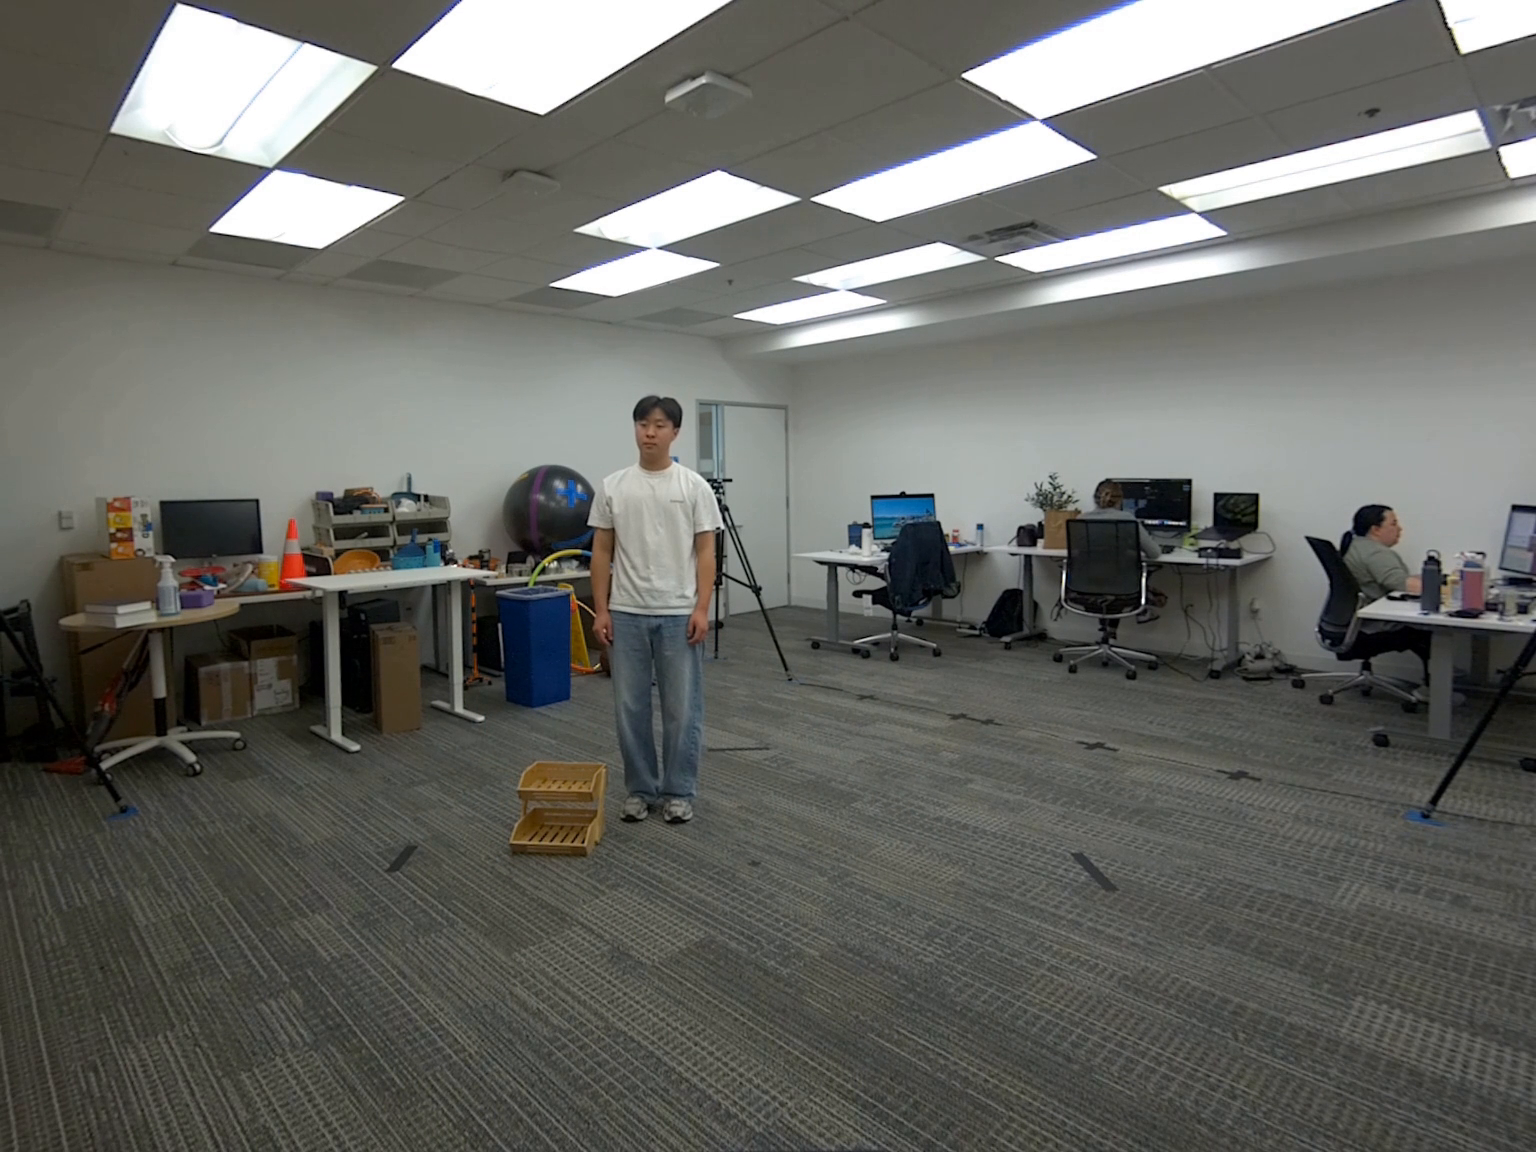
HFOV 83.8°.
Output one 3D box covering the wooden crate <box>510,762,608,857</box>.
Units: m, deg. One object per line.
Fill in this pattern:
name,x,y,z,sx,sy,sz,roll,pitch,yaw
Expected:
wooden crate,-0.821,0.905,3.331,0.327,0.272,0.301,-1,5,7
